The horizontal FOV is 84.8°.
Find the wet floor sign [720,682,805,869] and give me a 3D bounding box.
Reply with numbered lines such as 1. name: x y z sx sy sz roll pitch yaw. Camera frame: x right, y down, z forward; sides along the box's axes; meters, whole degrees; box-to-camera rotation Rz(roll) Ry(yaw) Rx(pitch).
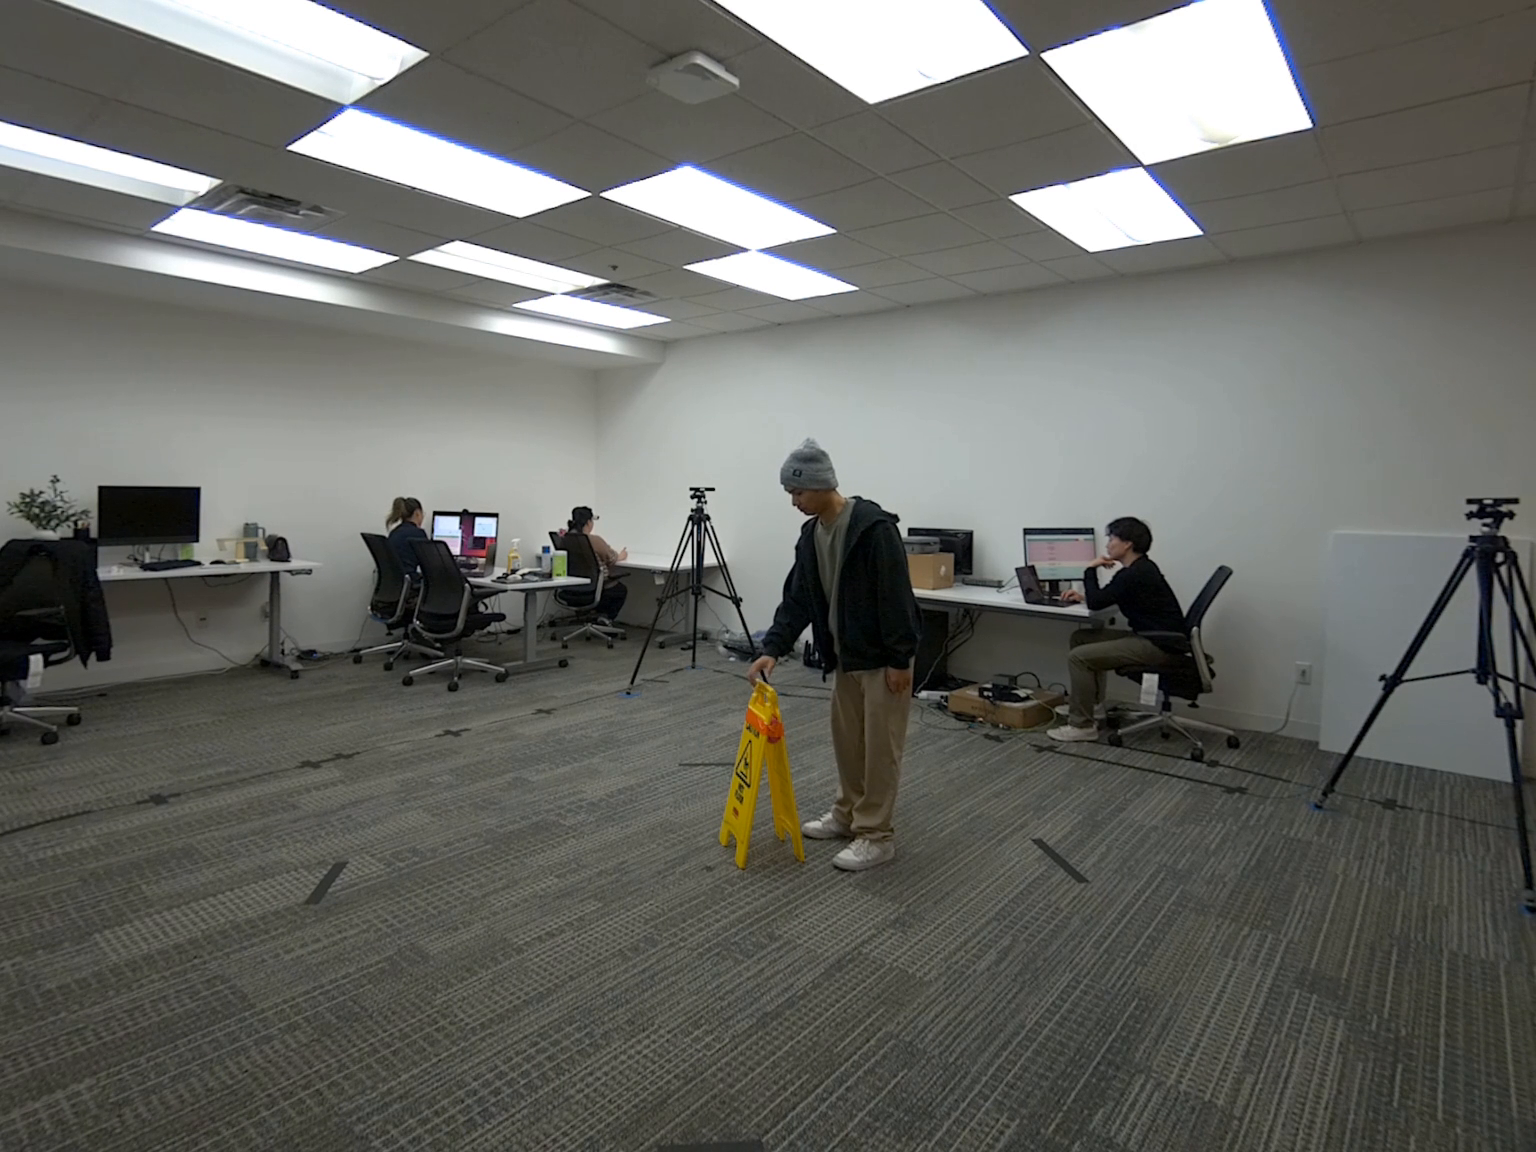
1. wet floor sign: -0.025 0.724 3.265 0.284 0.643 0.289 0 5 -19
